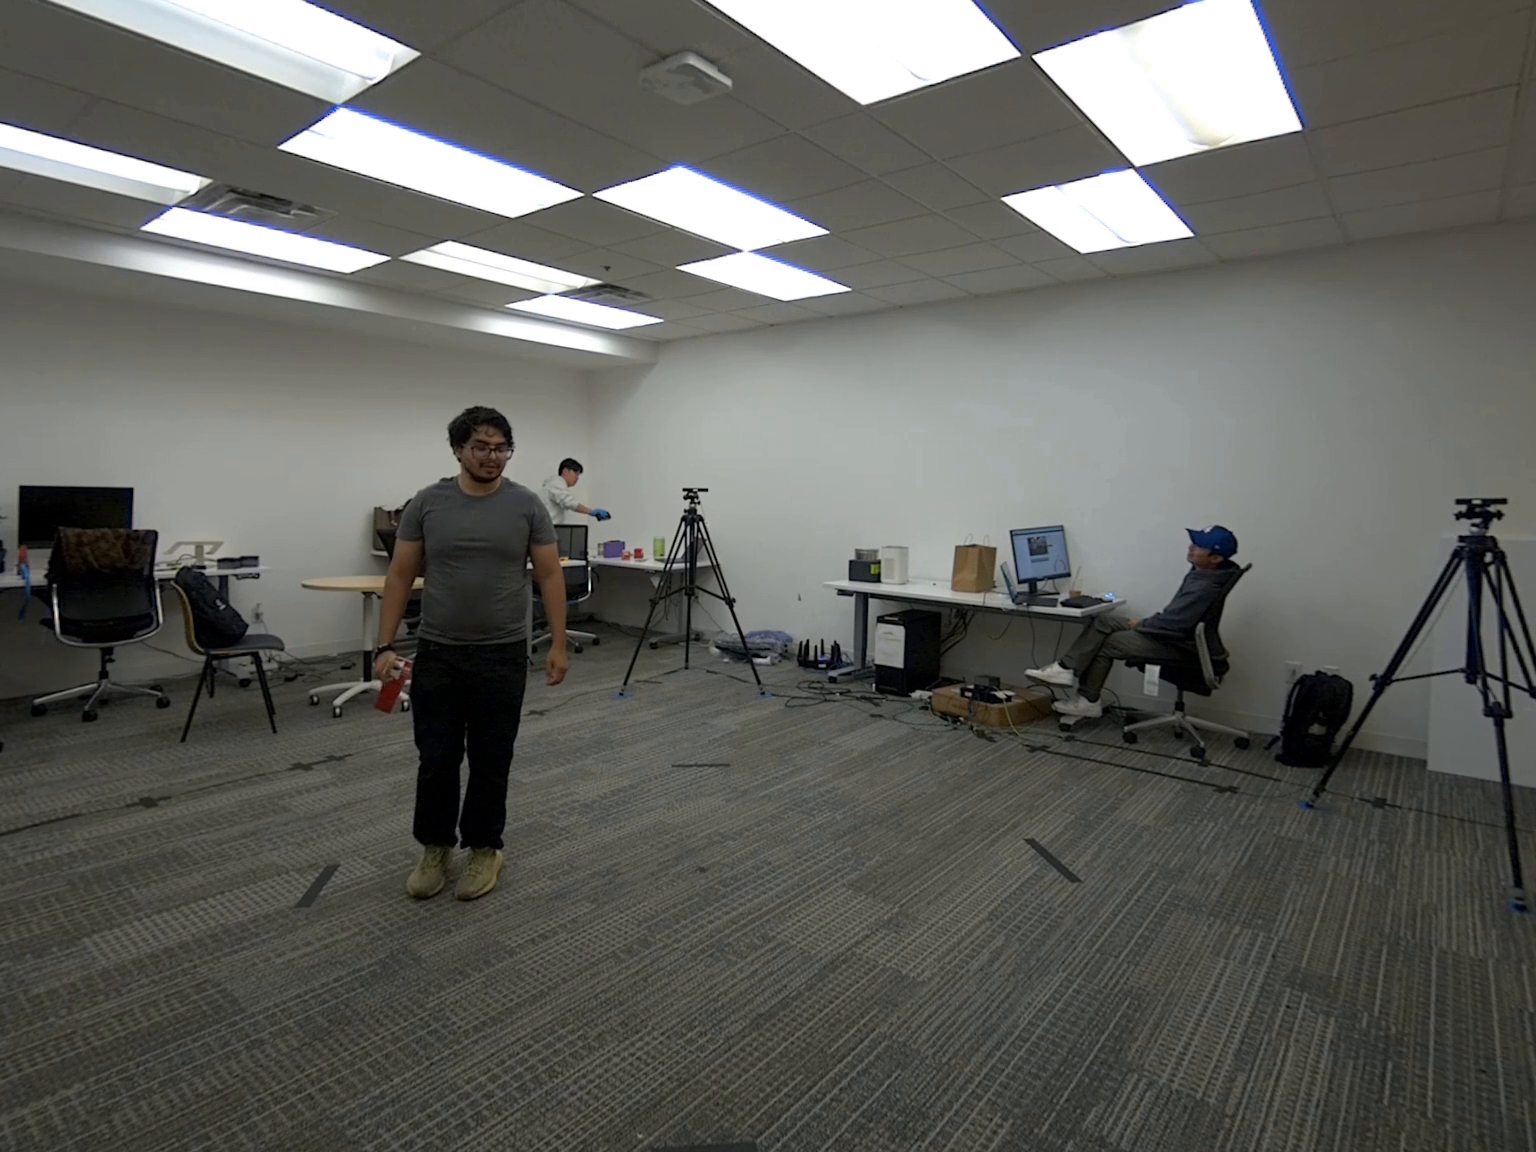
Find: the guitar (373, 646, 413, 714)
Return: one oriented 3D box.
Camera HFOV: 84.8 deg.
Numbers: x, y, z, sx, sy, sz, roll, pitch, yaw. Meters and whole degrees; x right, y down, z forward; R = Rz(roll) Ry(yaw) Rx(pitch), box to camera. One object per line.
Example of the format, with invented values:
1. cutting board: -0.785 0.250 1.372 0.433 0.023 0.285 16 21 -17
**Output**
1. guitar: -1.270 0.372 2.820 0.069 0.194 0.505 24 -12 -18
